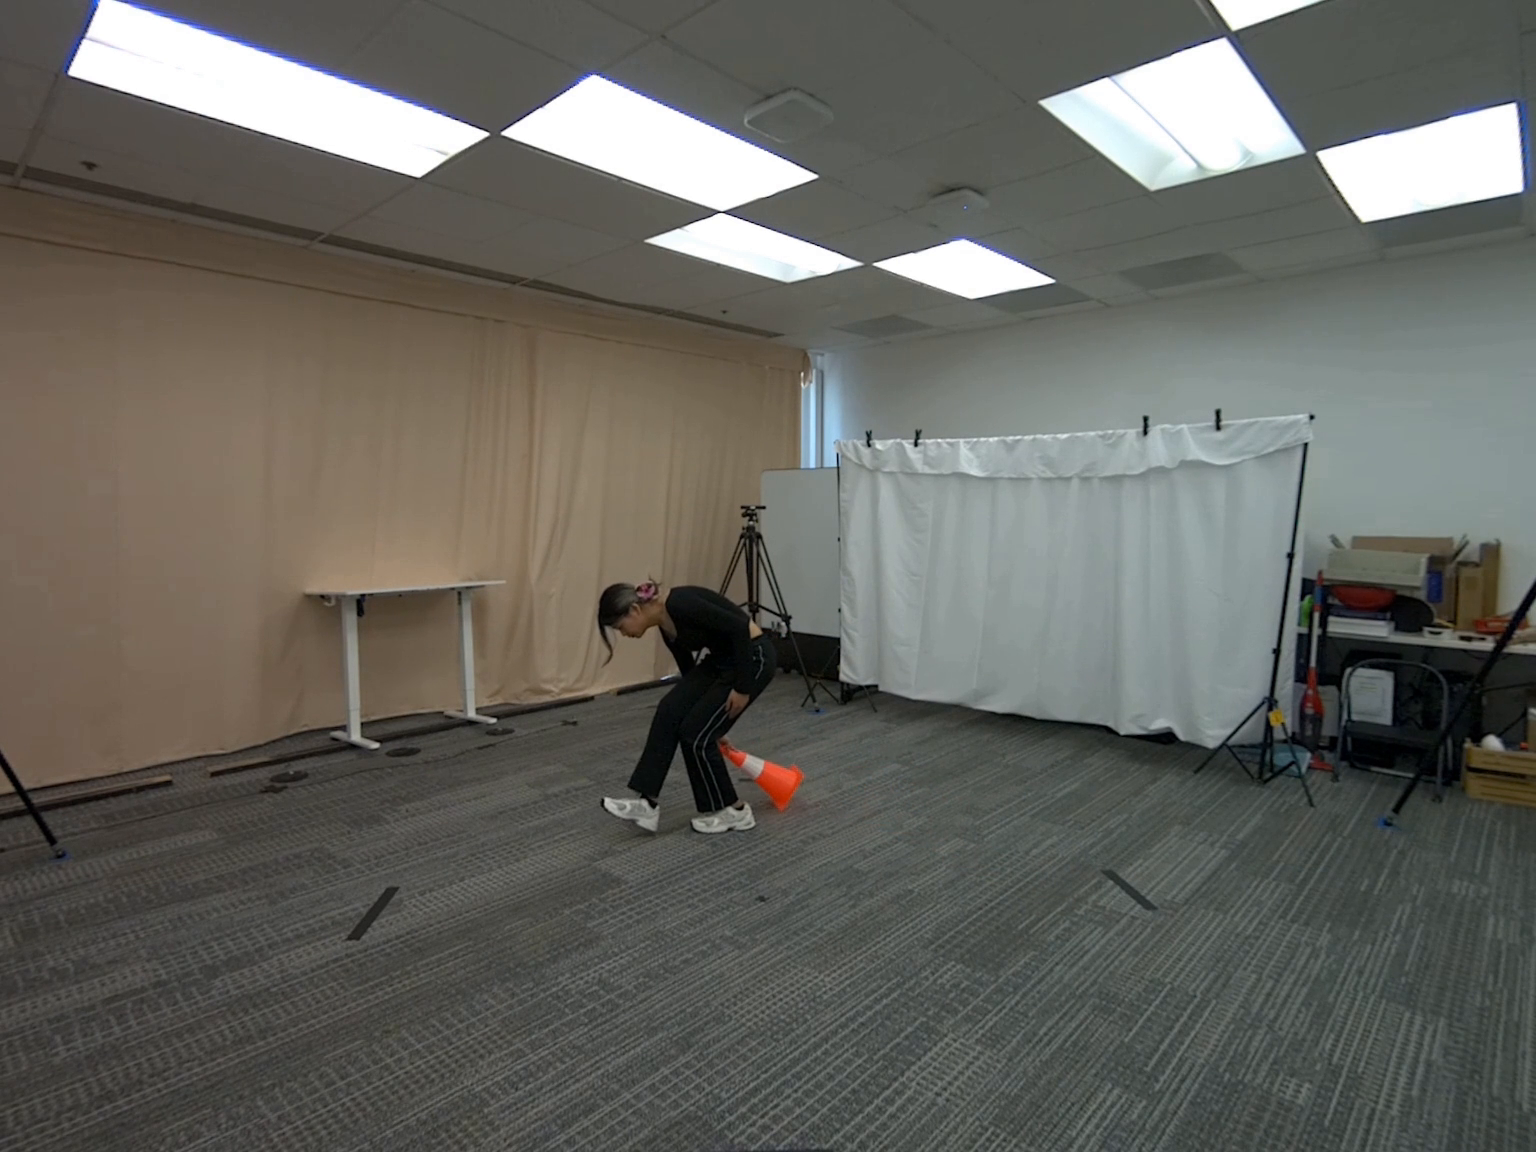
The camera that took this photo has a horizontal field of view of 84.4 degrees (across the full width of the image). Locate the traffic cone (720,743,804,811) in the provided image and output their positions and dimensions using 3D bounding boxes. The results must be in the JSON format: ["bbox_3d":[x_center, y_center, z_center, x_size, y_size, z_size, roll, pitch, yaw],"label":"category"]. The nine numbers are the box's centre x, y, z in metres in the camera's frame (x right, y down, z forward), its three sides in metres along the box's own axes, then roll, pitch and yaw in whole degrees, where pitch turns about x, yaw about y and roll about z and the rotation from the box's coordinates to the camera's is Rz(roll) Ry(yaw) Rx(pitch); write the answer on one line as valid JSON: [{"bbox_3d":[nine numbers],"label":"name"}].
[{"bbox_3d":[-0.063,0.883,3.898,0.380,0.203,0.207,33,-3,-7],"label":"traffic cone"}]
